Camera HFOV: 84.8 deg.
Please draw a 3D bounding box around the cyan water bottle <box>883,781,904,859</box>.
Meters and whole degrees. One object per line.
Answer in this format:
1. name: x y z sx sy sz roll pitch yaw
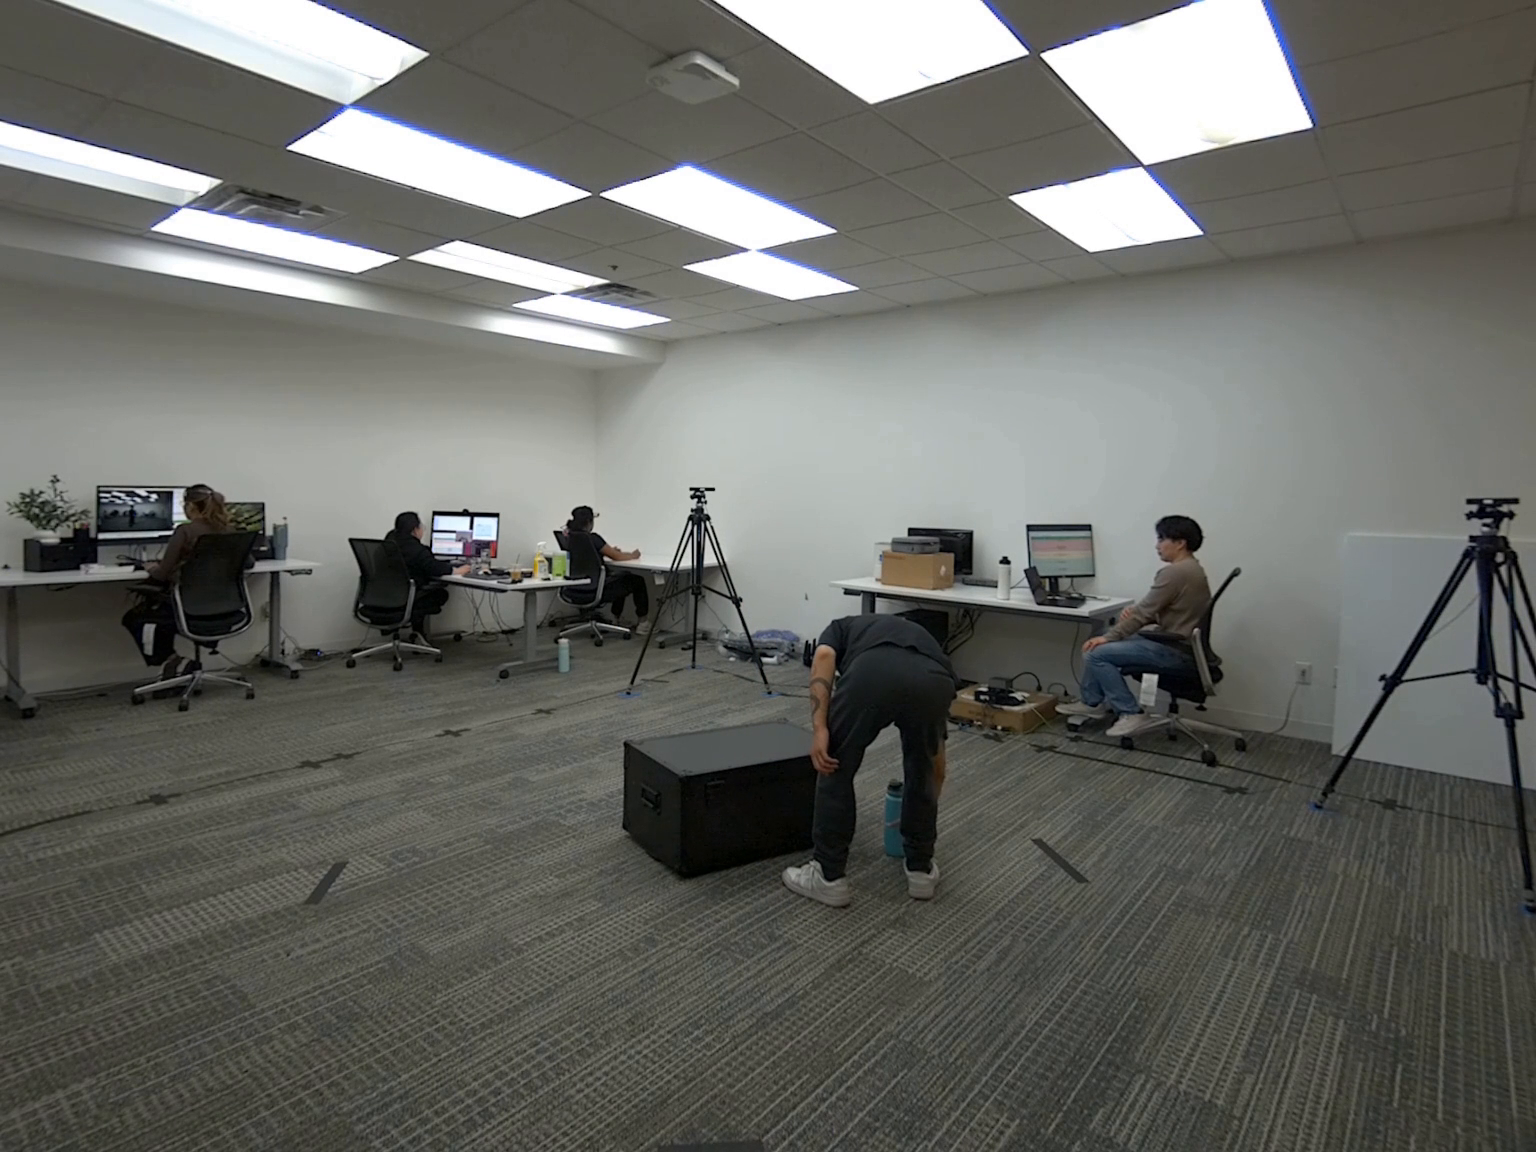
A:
1. cyan water bottle: 0.484 0.925 3.287 0.092 0.282 0.093 3 4 -2
